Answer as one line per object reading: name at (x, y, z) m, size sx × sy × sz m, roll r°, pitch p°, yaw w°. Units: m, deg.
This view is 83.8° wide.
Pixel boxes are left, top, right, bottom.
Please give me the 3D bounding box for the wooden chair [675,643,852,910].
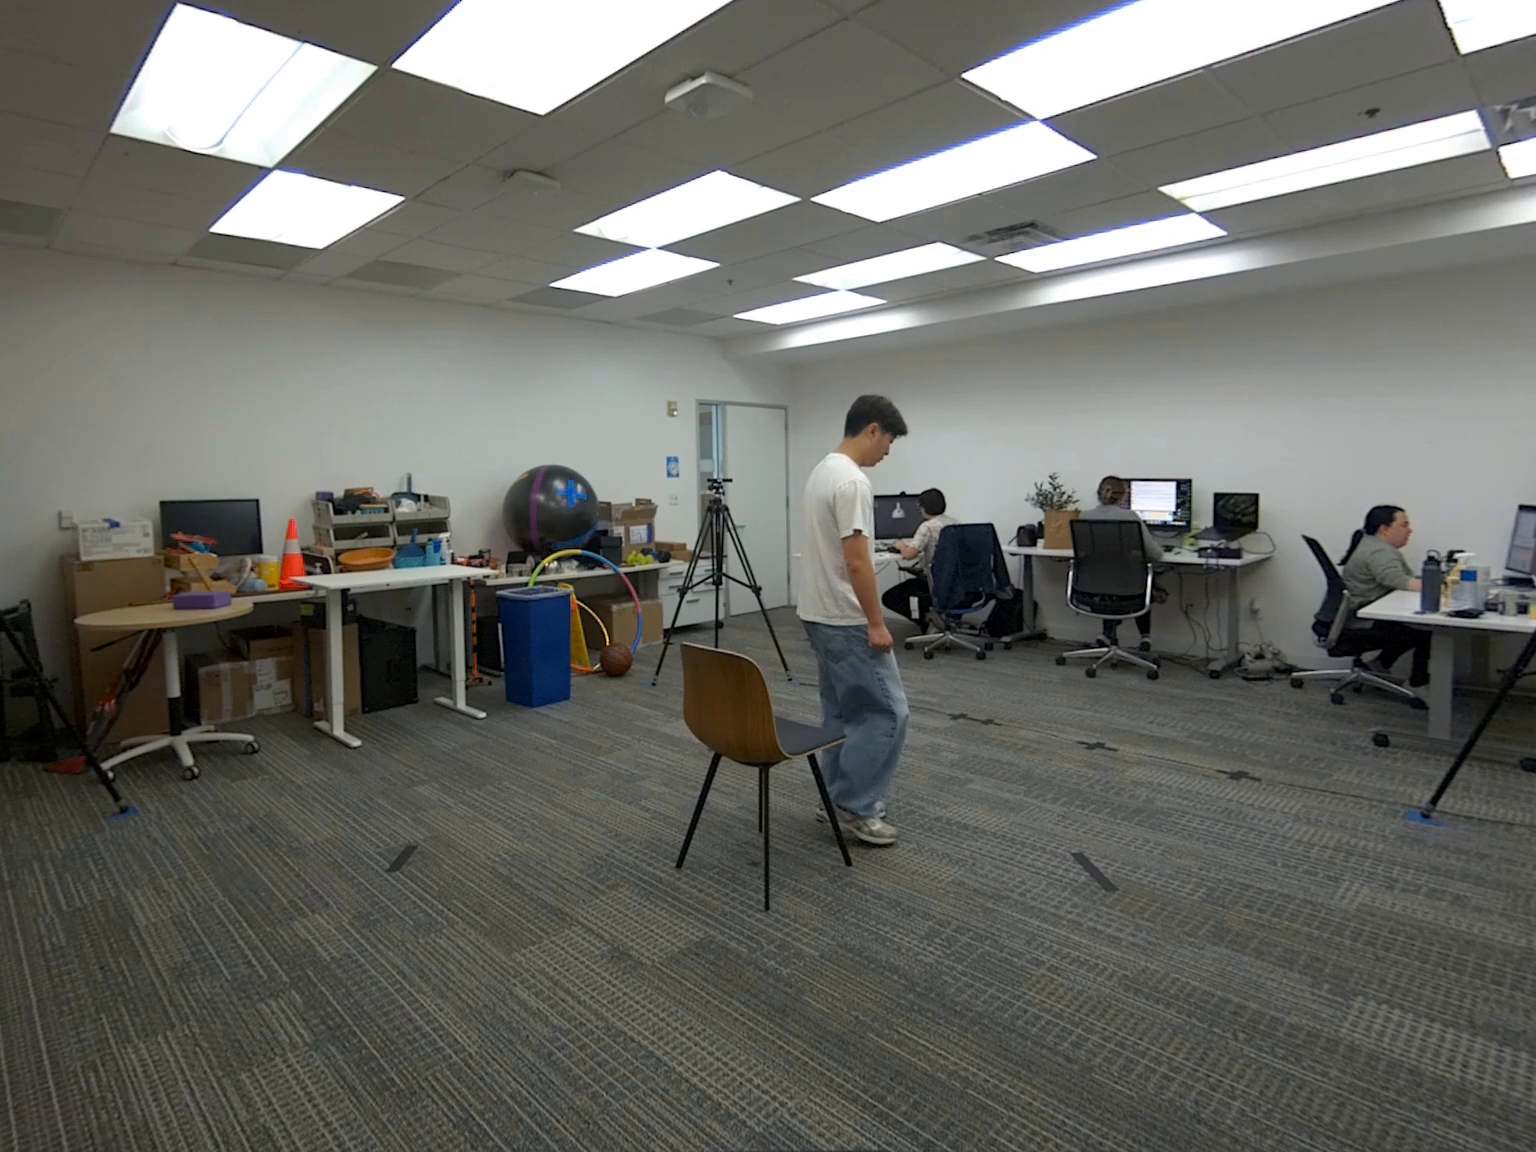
wooden chair at (-0.015, 0.624, 3.047) m, size 0.493 × 0.871 × 0.511 m, roll 3°, pitch 10°, yaw 44°
